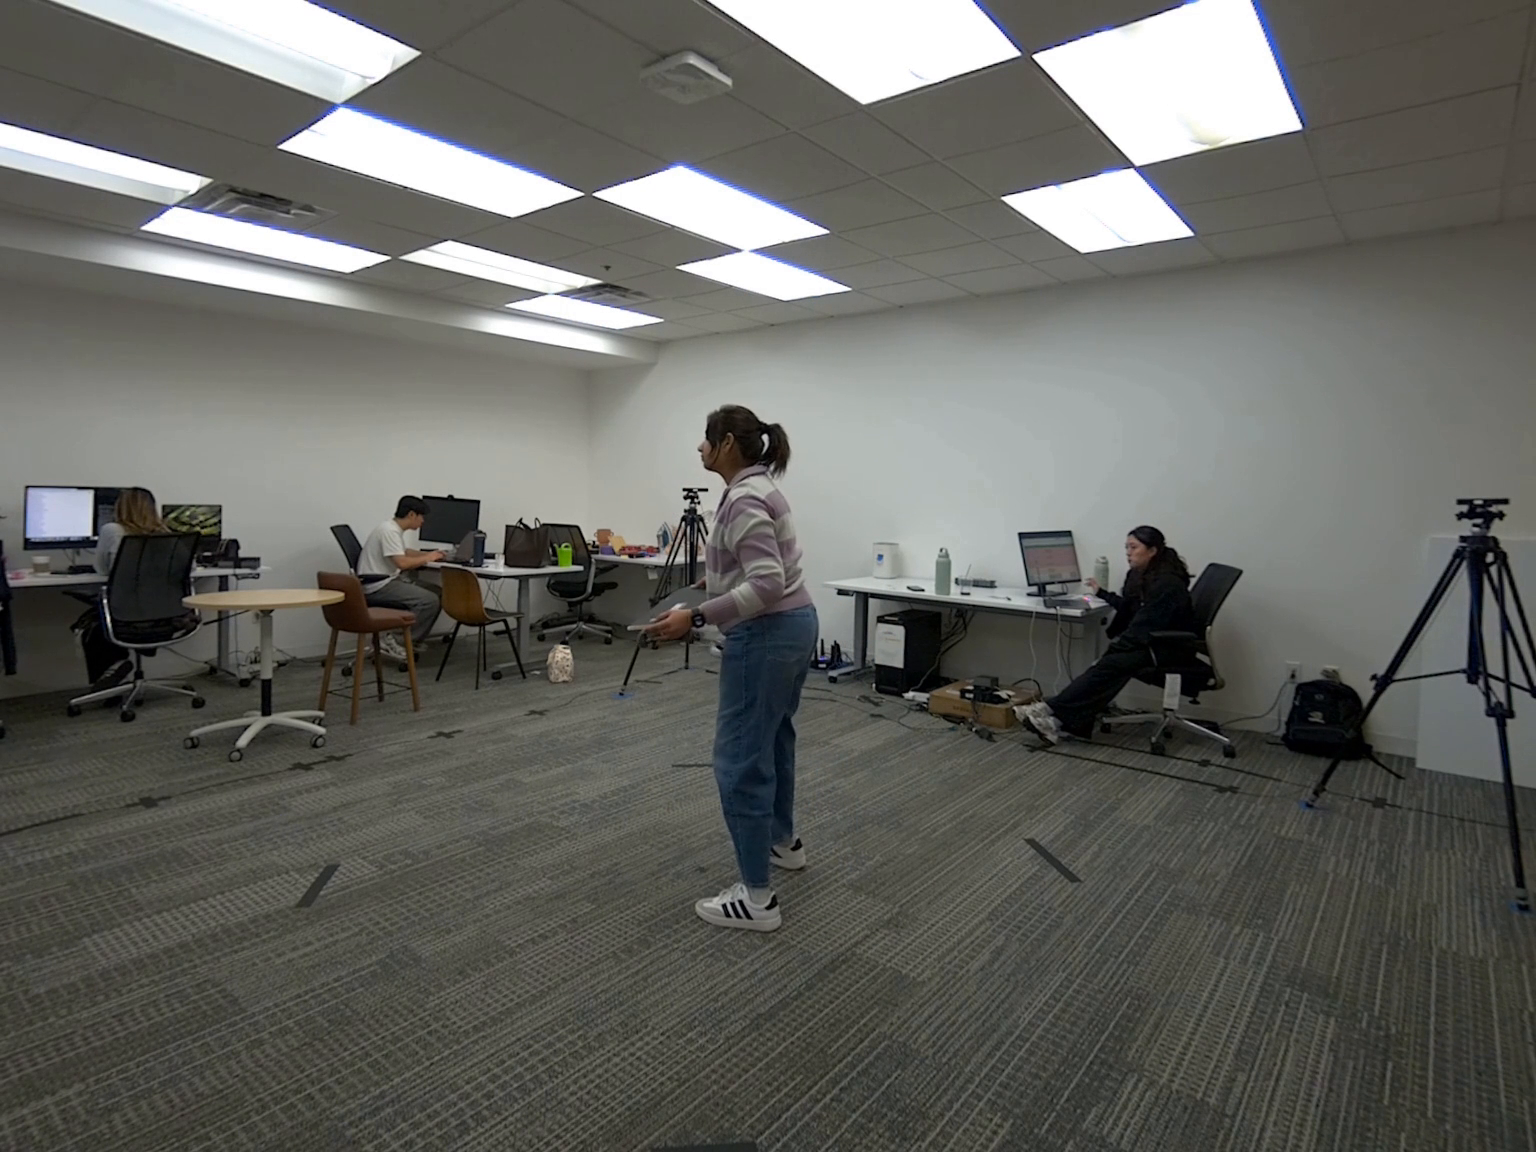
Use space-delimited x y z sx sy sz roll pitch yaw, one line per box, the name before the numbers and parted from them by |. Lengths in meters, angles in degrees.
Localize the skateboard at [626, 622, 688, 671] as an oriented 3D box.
skateboard | -0.329 0.144 2.927 0.195 0.110 0.783 -9 6 8
